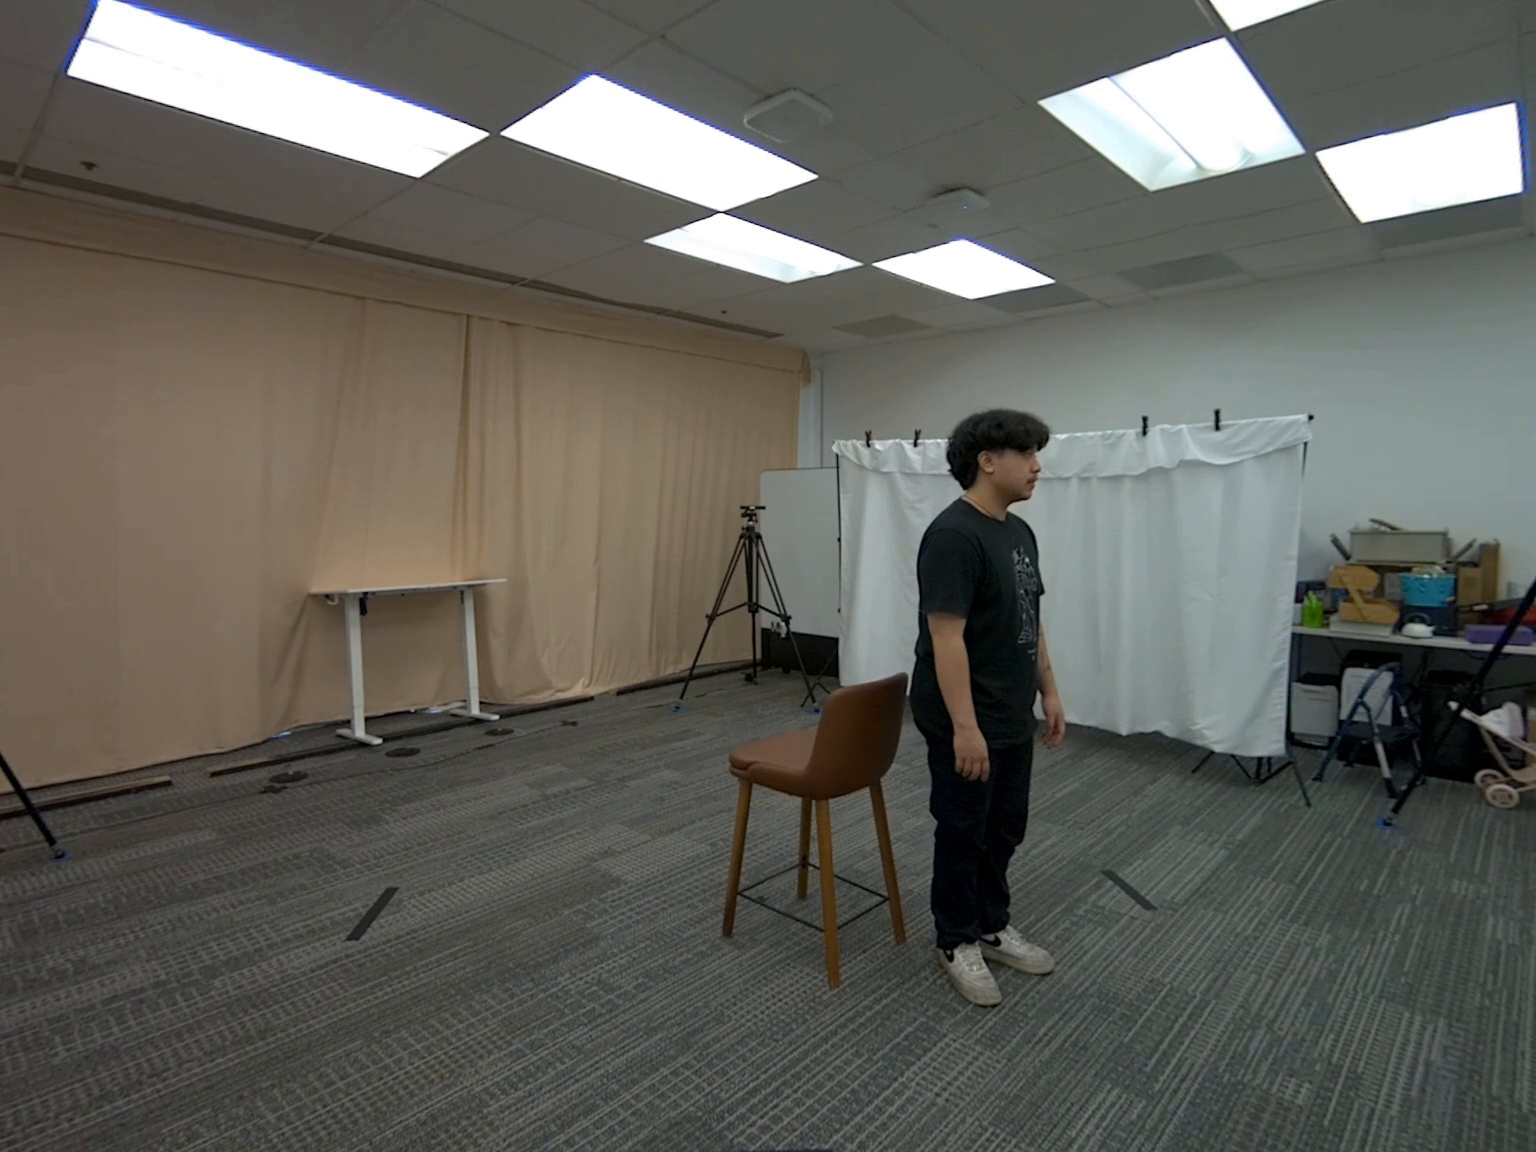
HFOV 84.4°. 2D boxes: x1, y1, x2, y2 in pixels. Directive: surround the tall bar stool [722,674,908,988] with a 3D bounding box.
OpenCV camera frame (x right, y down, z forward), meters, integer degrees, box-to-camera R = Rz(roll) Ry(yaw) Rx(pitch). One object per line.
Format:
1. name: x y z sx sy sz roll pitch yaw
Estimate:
1. tall bar stool: 0.163 0.730 2.684 0.484 0.887 0.442 7 7 44
